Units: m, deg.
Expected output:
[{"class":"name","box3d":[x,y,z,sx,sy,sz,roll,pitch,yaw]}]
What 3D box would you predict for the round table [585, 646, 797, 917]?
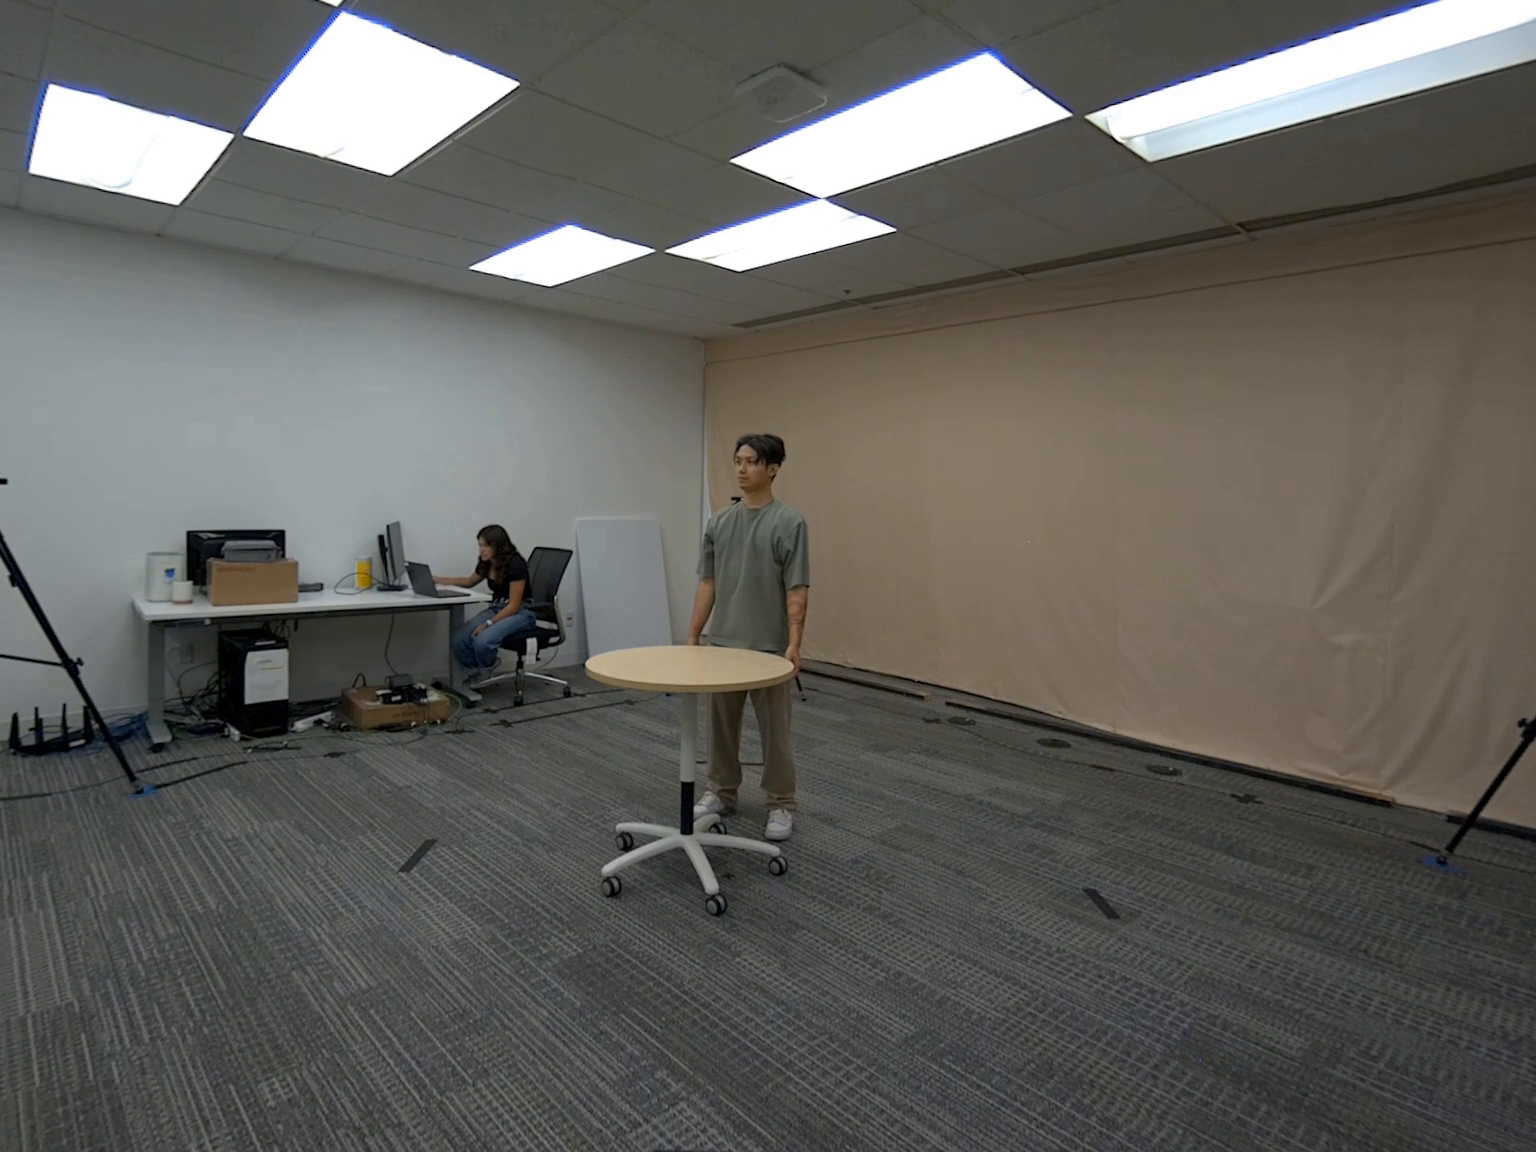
[{"class":"round table","box3d":[-0.291,0.713,3.119,0.784,0.785,0.787,1,4,-1]}]
